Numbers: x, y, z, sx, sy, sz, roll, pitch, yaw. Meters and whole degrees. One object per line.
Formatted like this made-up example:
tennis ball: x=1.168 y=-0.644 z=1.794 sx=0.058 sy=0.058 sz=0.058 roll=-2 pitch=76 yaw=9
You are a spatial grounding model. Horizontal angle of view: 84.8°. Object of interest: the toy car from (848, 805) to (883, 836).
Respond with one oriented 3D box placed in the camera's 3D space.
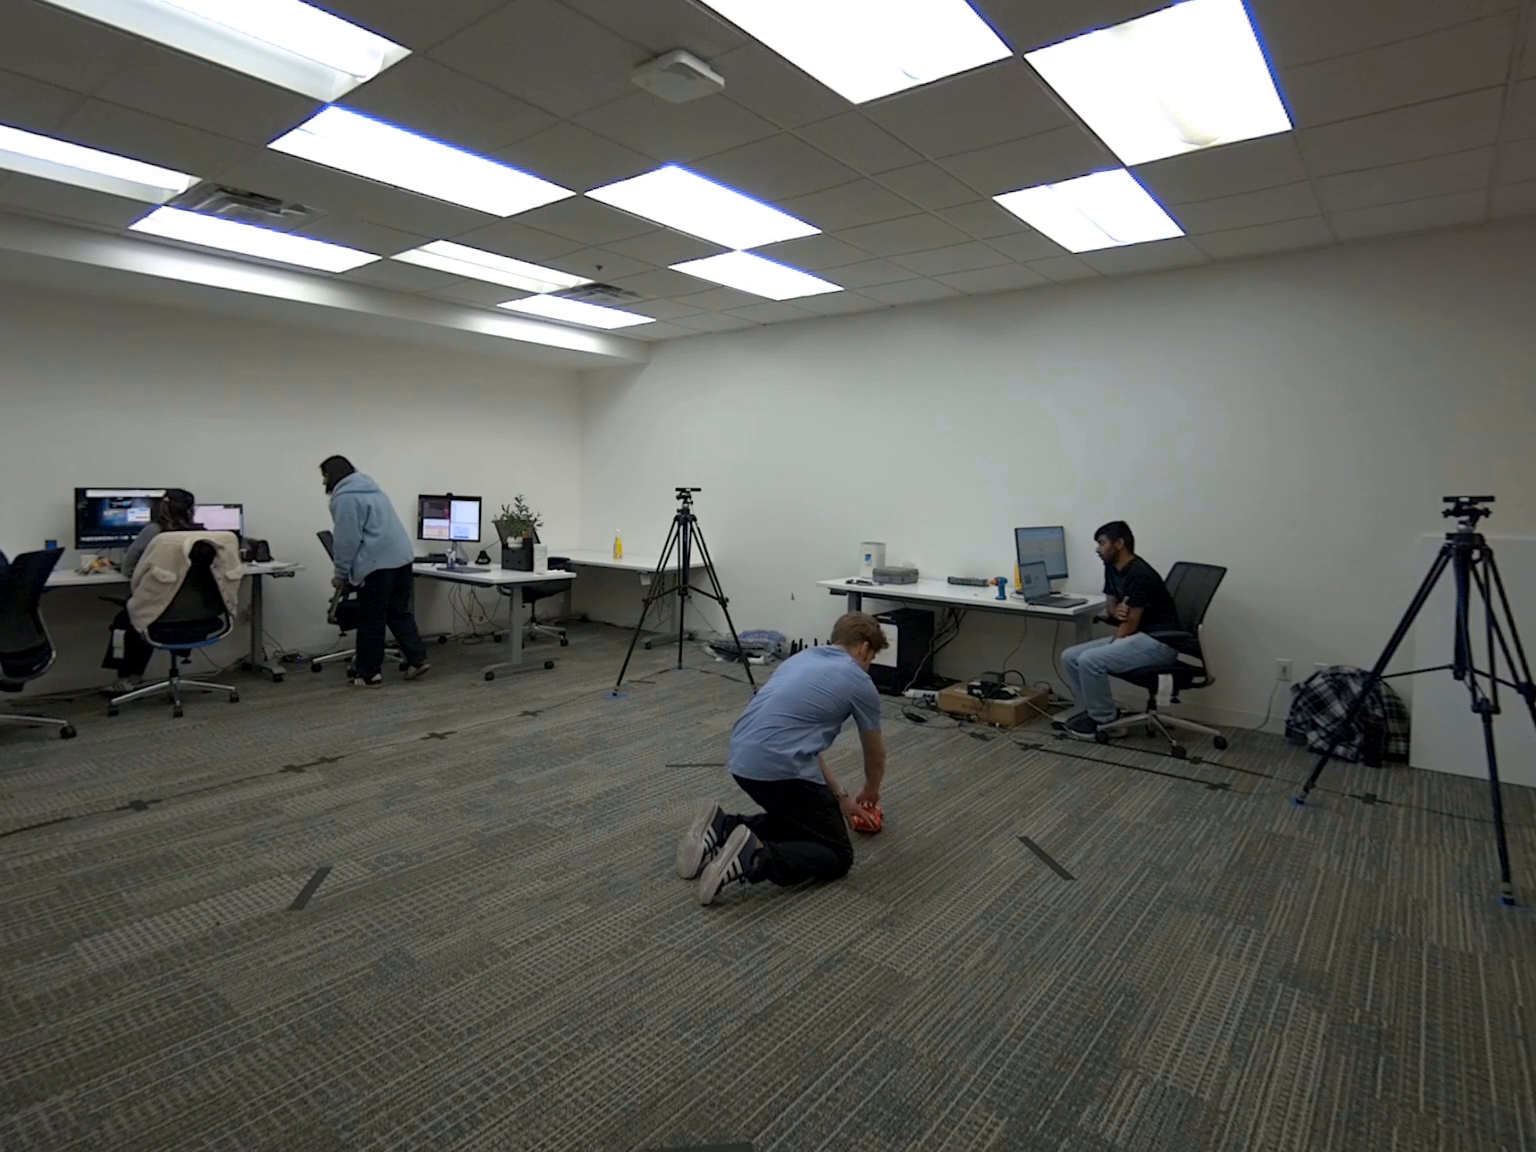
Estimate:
toy car: x=0.416 y=1.010 z=3.553 sx=0.132 sy=0.083 sz=0.250 roll=3 pitch=-4 yaw=8
